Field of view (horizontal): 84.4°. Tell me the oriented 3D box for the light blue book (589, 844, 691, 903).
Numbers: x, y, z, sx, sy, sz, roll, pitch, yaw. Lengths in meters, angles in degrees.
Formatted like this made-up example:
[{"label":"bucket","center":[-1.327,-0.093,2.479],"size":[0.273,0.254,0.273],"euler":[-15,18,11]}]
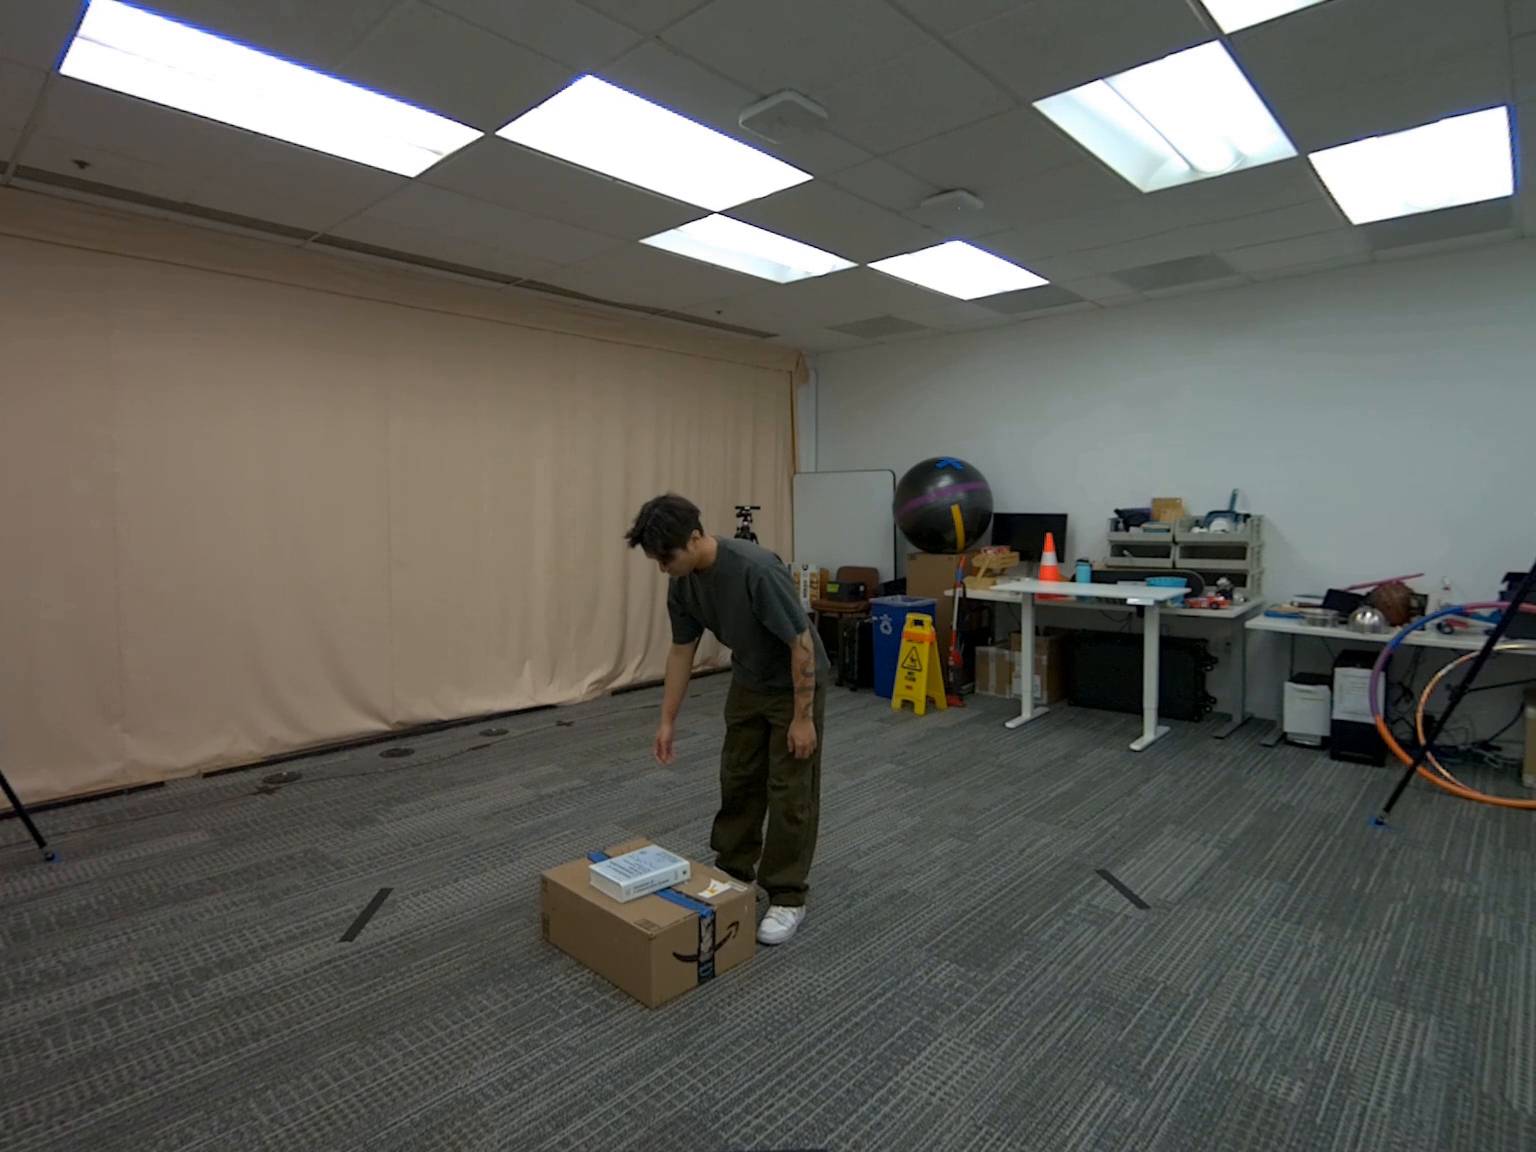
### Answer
[{"label":"light blue book","center":[-0.408,0.938,2.654],"size":[0.253,0.059,0.198],"euler":[-3,4,-42]}]
